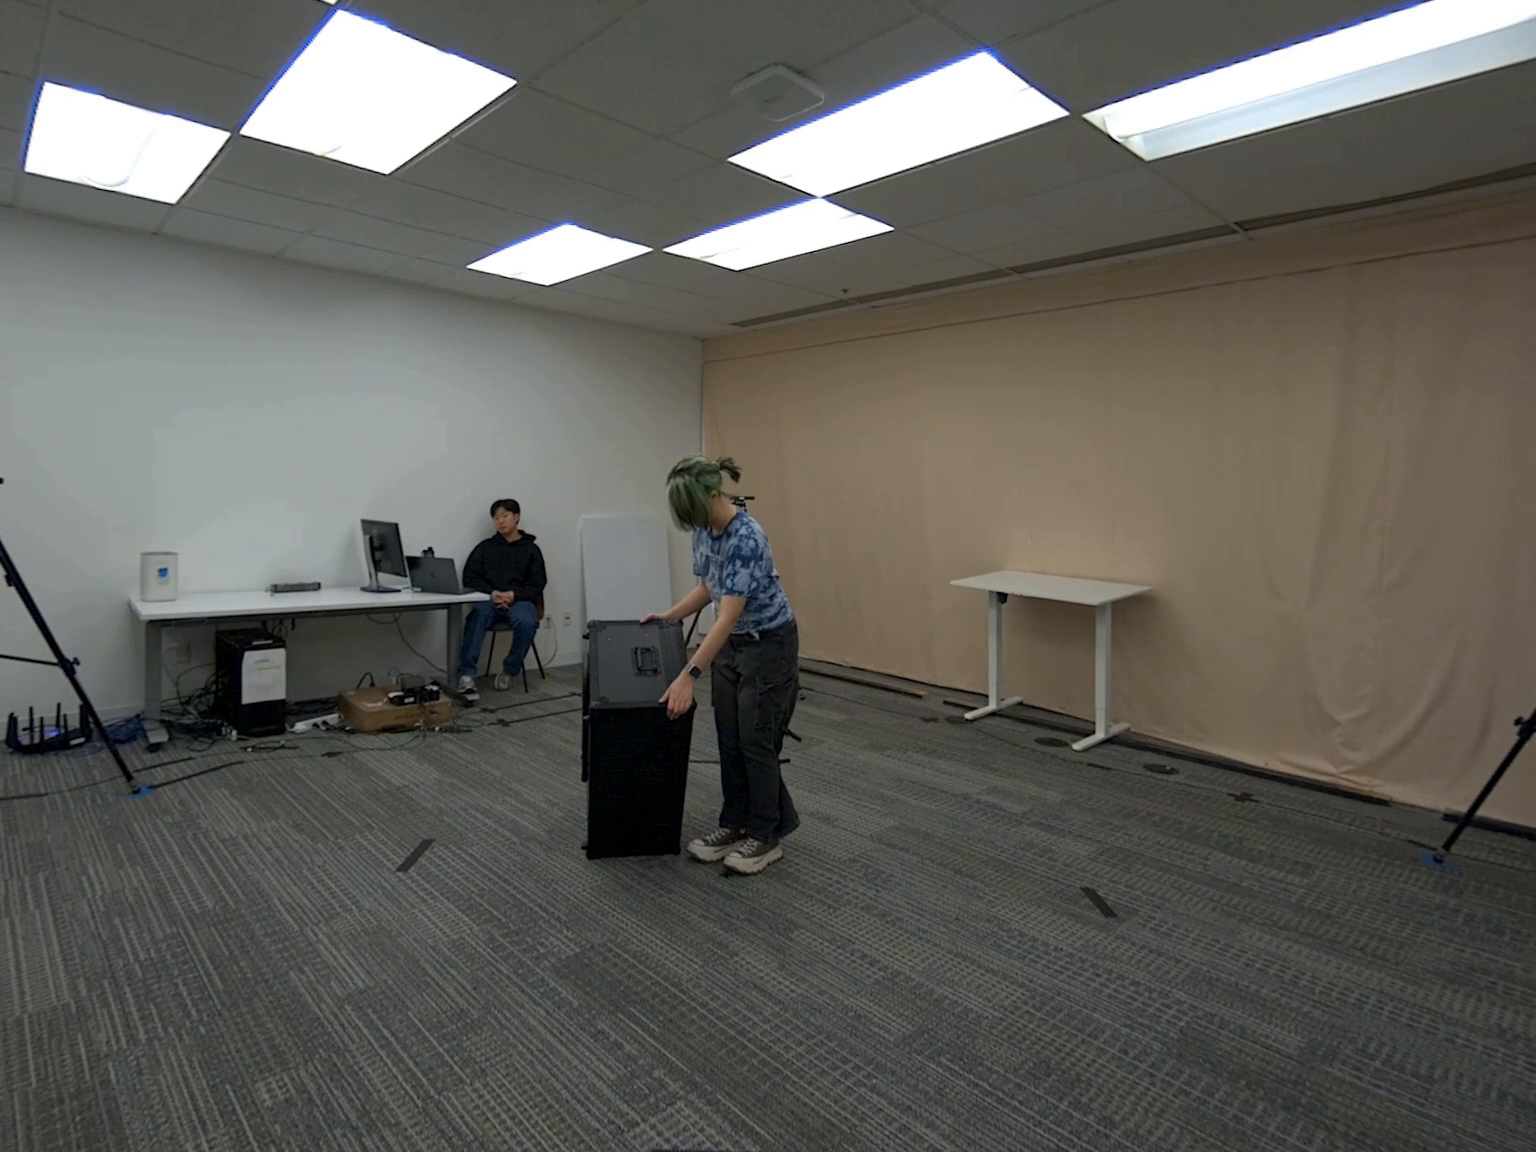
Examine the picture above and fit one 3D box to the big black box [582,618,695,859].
[{"bbox_3d":[-0.533,0.657,3.246,0.393,0.846,0.535,-2,34,-11],"label":"big black box"}]
